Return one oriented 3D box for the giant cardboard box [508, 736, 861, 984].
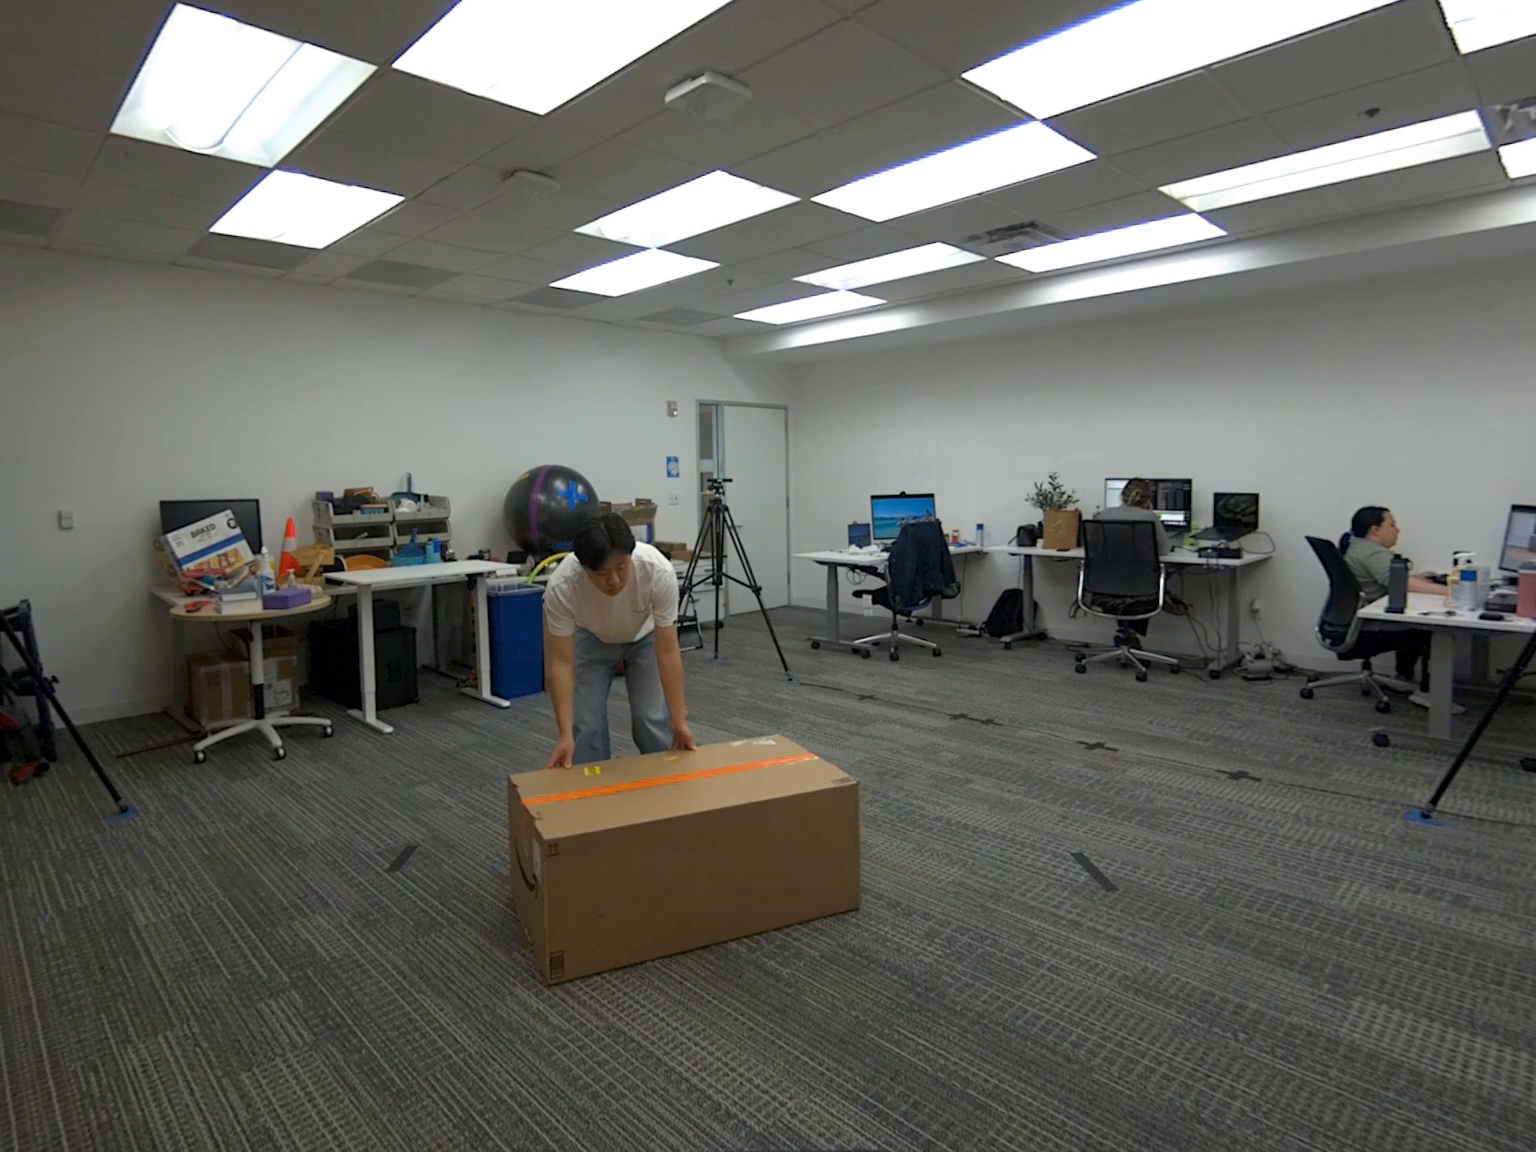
[{"bbox_3d":[-0.282,0.867,2.812,1.005,0.424,0.591,-4,6,-24],"label":"giant cardboard box"}]
